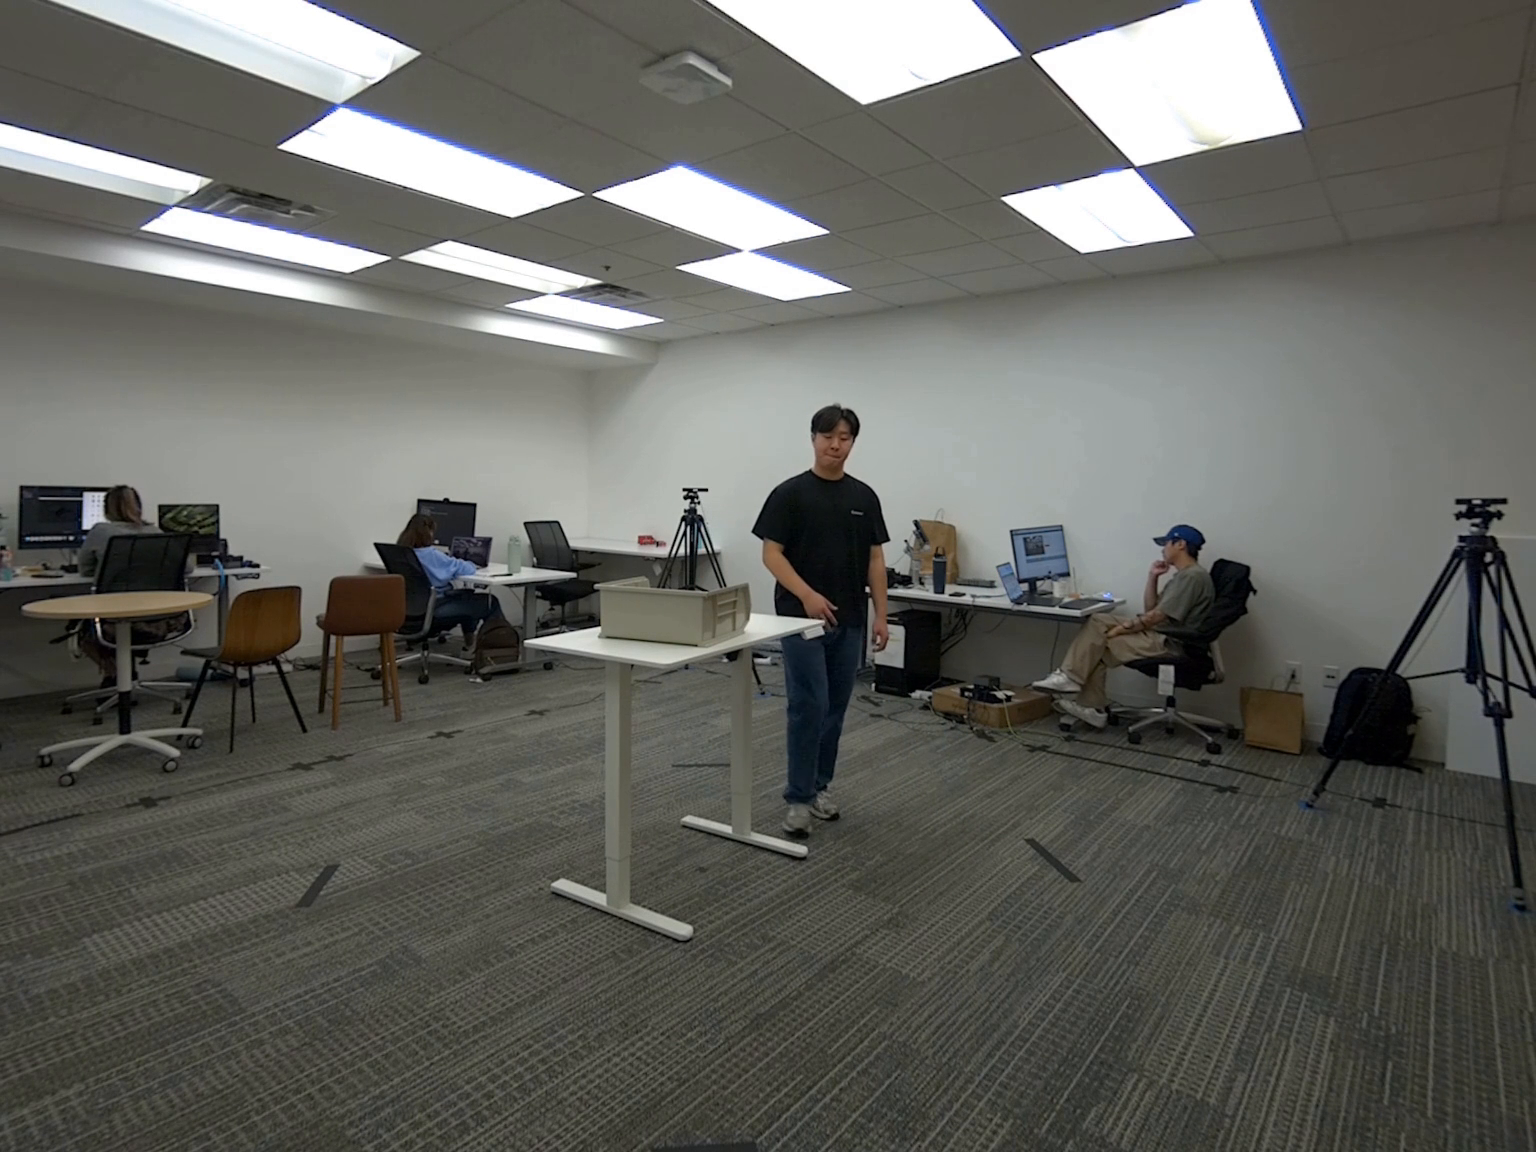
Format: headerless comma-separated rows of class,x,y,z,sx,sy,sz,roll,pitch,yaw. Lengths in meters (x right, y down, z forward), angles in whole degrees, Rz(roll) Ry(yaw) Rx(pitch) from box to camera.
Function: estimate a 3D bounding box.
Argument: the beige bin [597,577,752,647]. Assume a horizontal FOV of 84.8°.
beige bin,-0.330,0.115,2.940,0.433,0.188,0.370,3,7,23
